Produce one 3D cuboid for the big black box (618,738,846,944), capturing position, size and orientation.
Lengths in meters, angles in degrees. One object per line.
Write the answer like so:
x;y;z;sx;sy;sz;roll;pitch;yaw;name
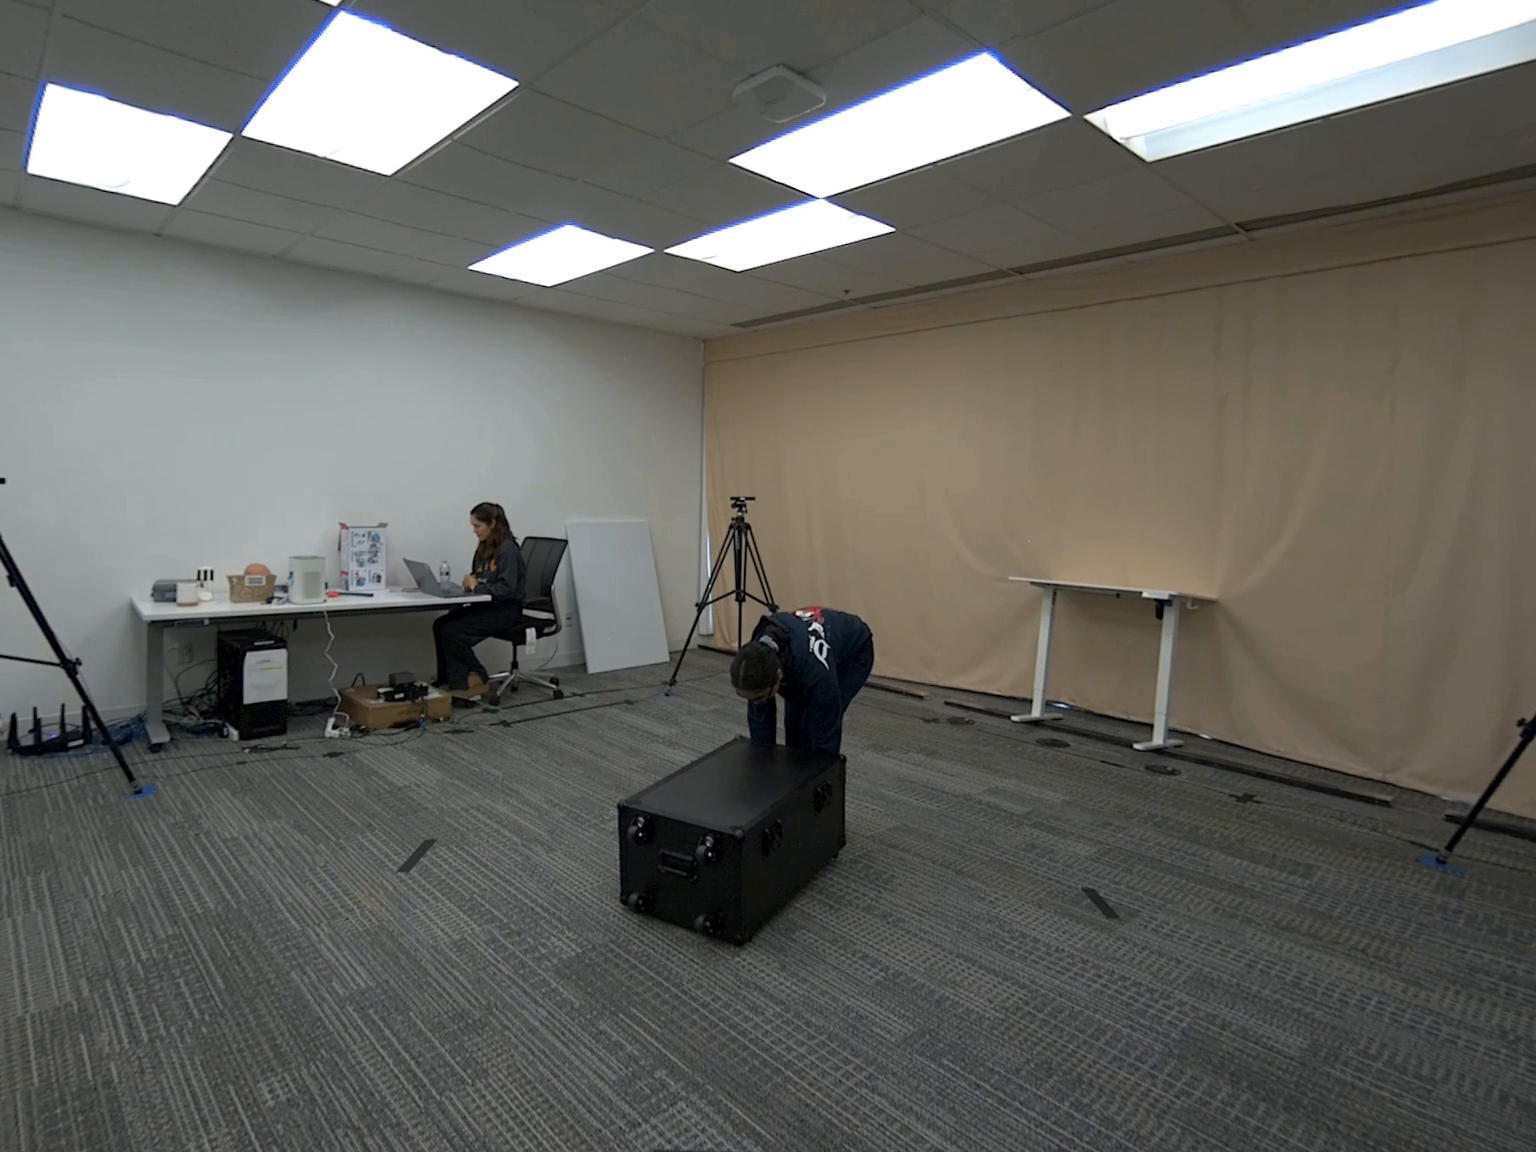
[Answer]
-0.128;0.914;2.985;0.532;0.394;0.846;4;8;29;big black box
